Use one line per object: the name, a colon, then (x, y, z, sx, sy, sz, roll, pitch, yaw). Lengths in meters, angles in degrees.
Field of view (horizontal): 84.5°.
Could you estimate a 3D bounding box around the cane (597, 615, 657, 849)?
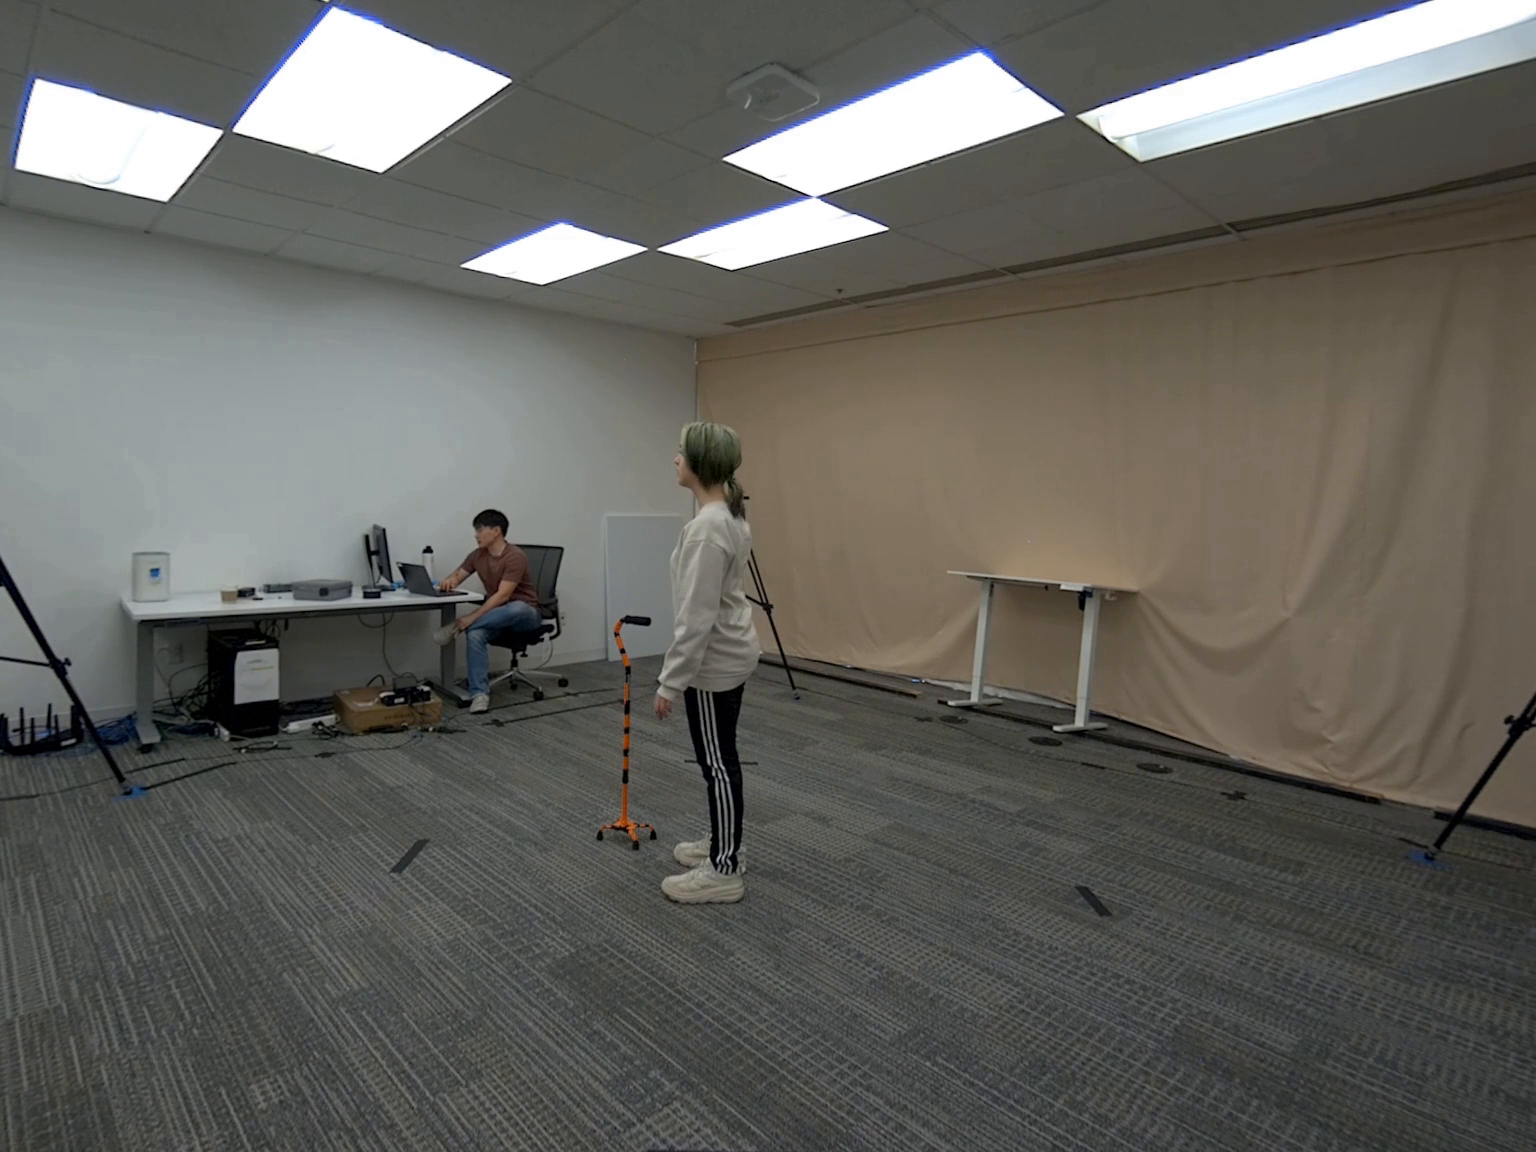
cane: (-0.573, 0.615, 3.384, 0.210, 0.906, 0.149, 2, 3, 27)
